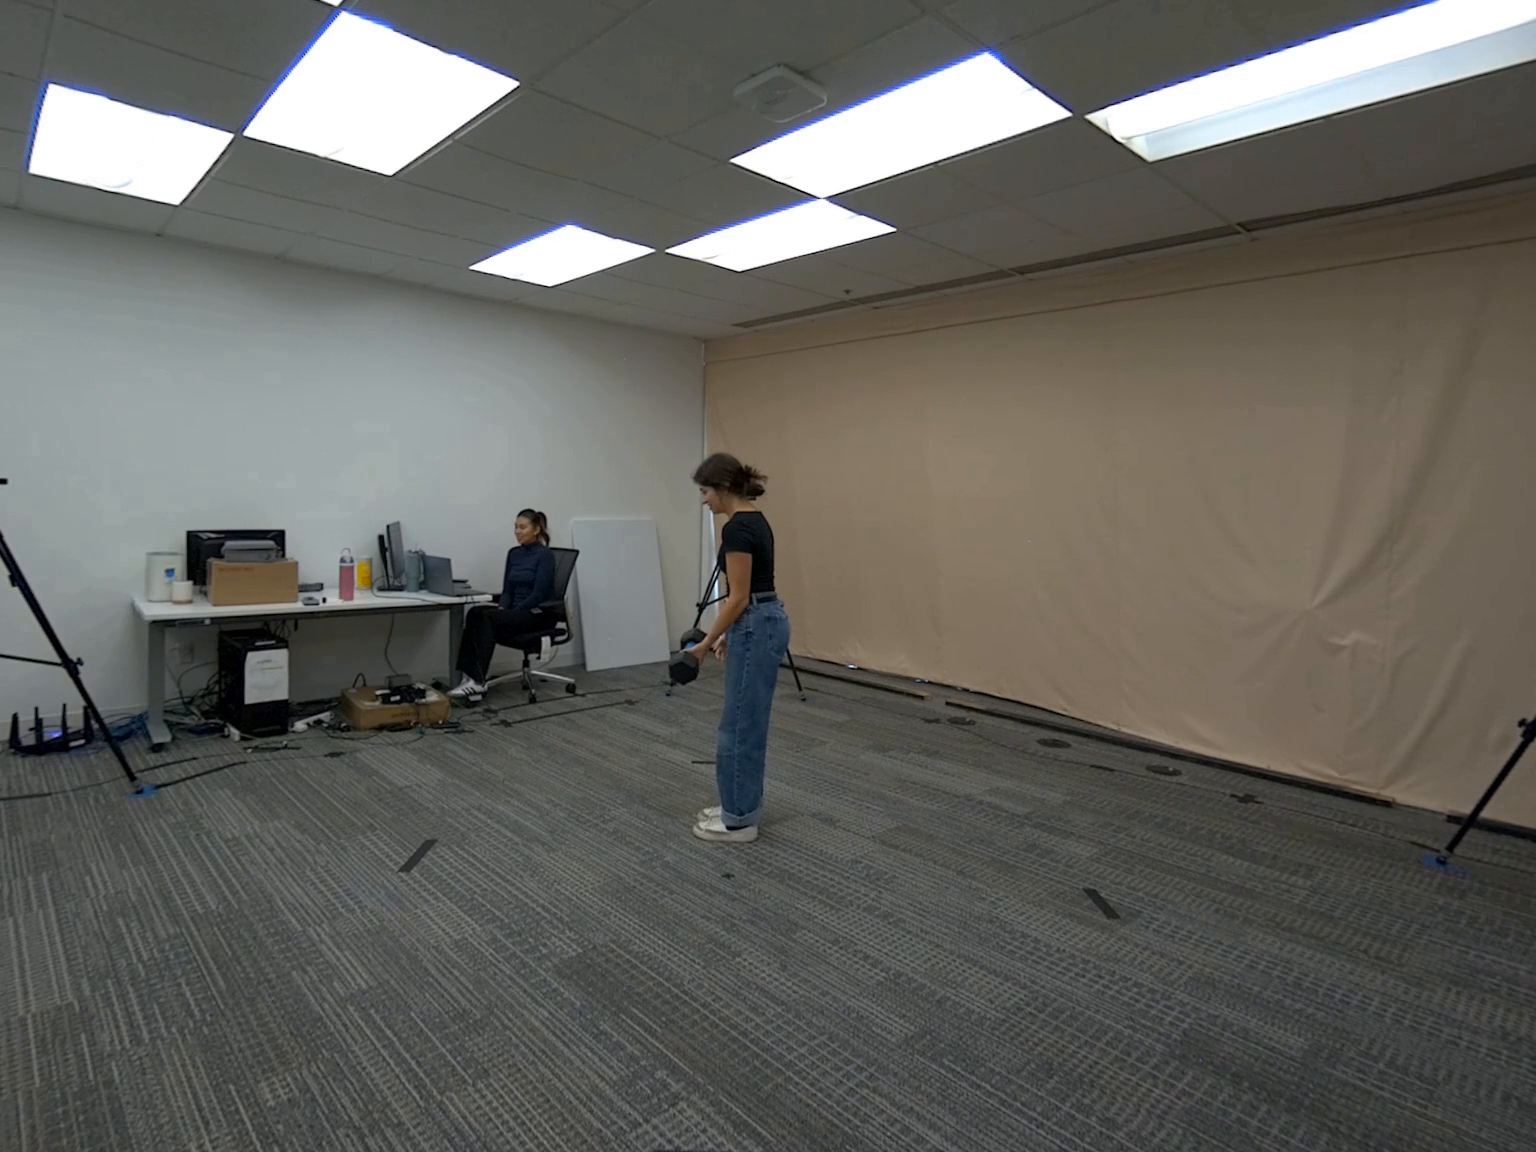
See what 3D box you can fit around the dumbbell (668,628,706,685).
[{"bbox_3d":[-0.320,0.307,3.365,0.124,0.107,0.296,-24,16,15],"label":"dumbbell"}]
